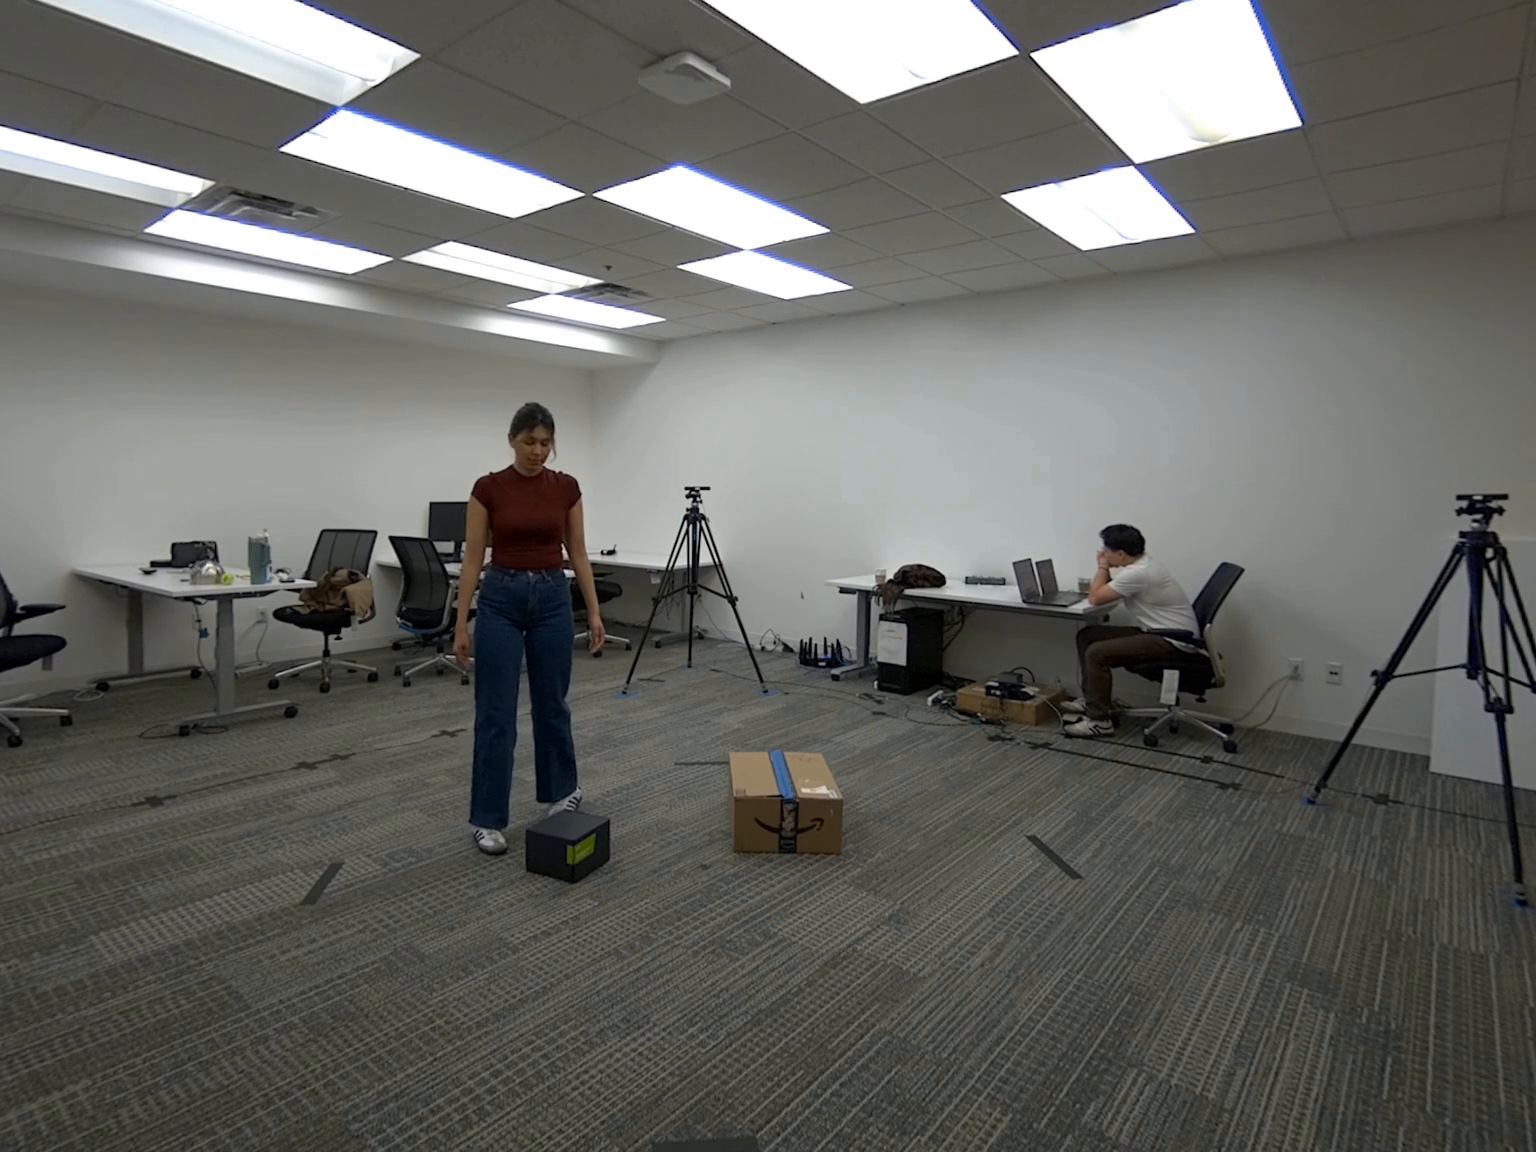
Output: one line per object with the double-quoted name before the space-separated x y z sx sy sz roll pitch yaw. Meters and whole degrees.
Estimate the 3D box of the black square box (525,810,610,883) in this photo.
"black square box" -0.737 0.973 3.102 0.222 0.155 0.223 3 5 24
